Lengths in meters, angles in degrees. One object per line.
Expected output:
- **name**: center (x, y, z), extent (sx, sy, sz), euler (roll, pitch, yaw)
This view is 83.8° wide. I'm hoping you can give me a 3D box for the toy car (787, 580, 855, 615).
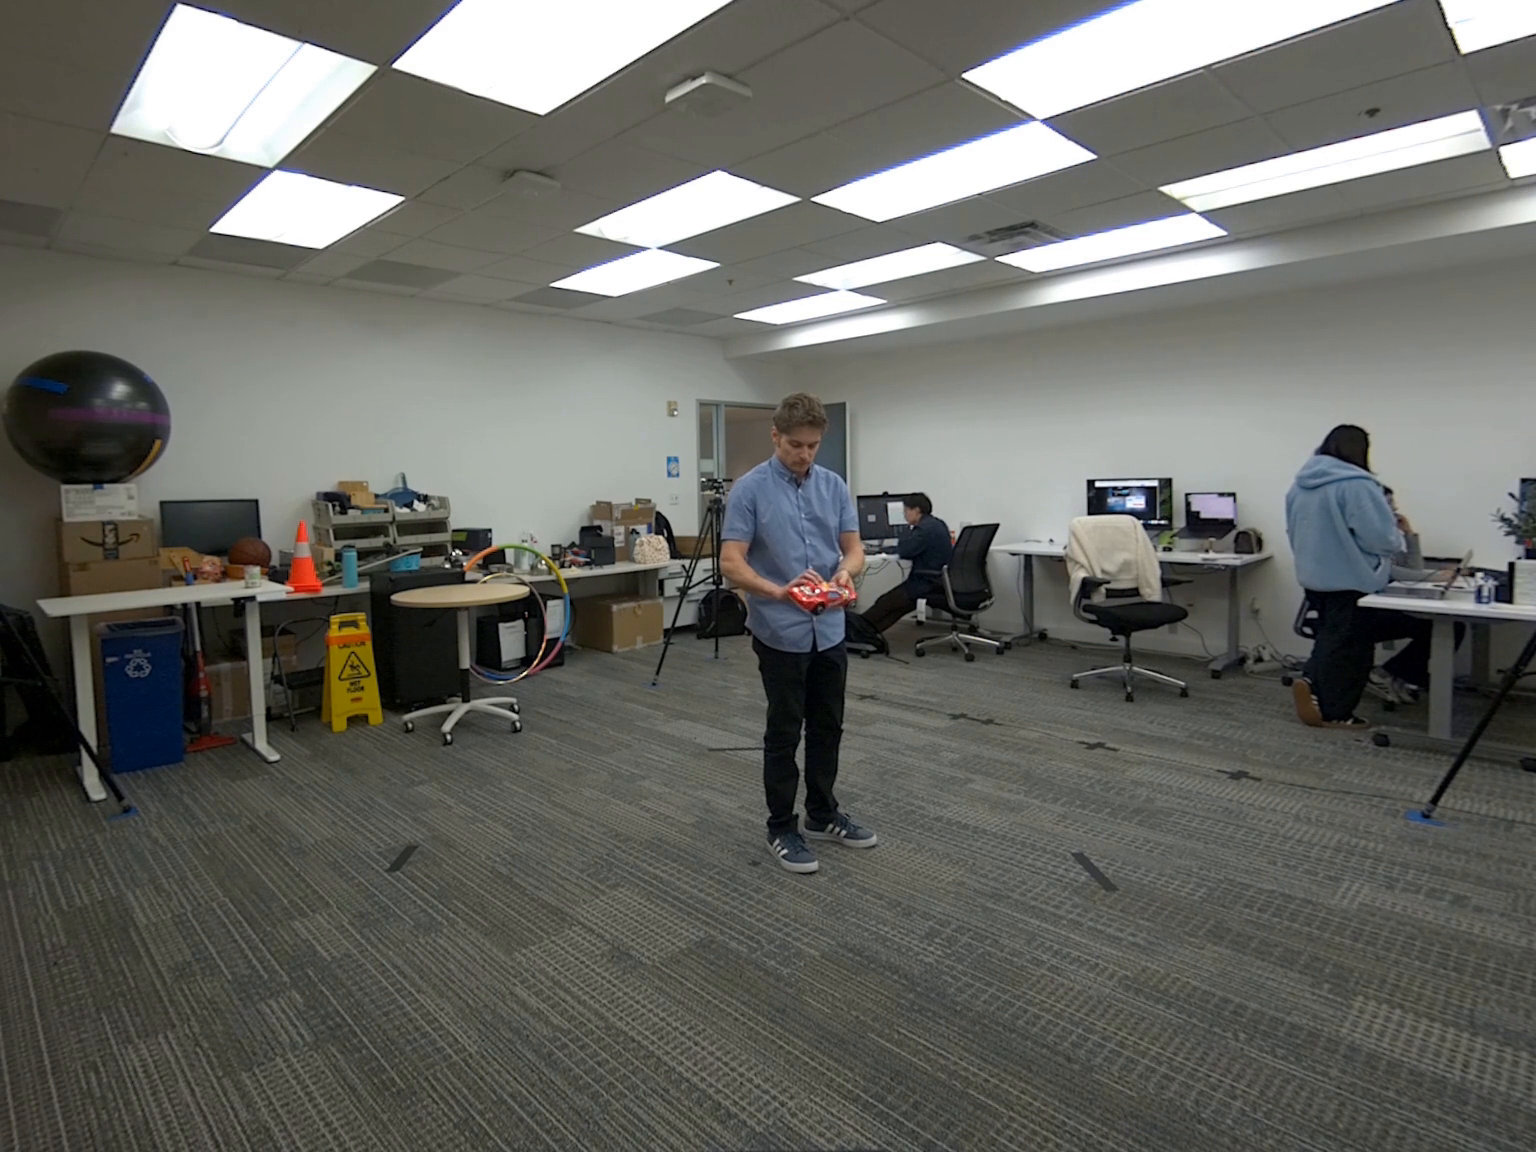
- **toy car**: center (0.166, 0.070, 2.759), extent (0.246, 0.082, 0.135), euler (7, 25, -42)
